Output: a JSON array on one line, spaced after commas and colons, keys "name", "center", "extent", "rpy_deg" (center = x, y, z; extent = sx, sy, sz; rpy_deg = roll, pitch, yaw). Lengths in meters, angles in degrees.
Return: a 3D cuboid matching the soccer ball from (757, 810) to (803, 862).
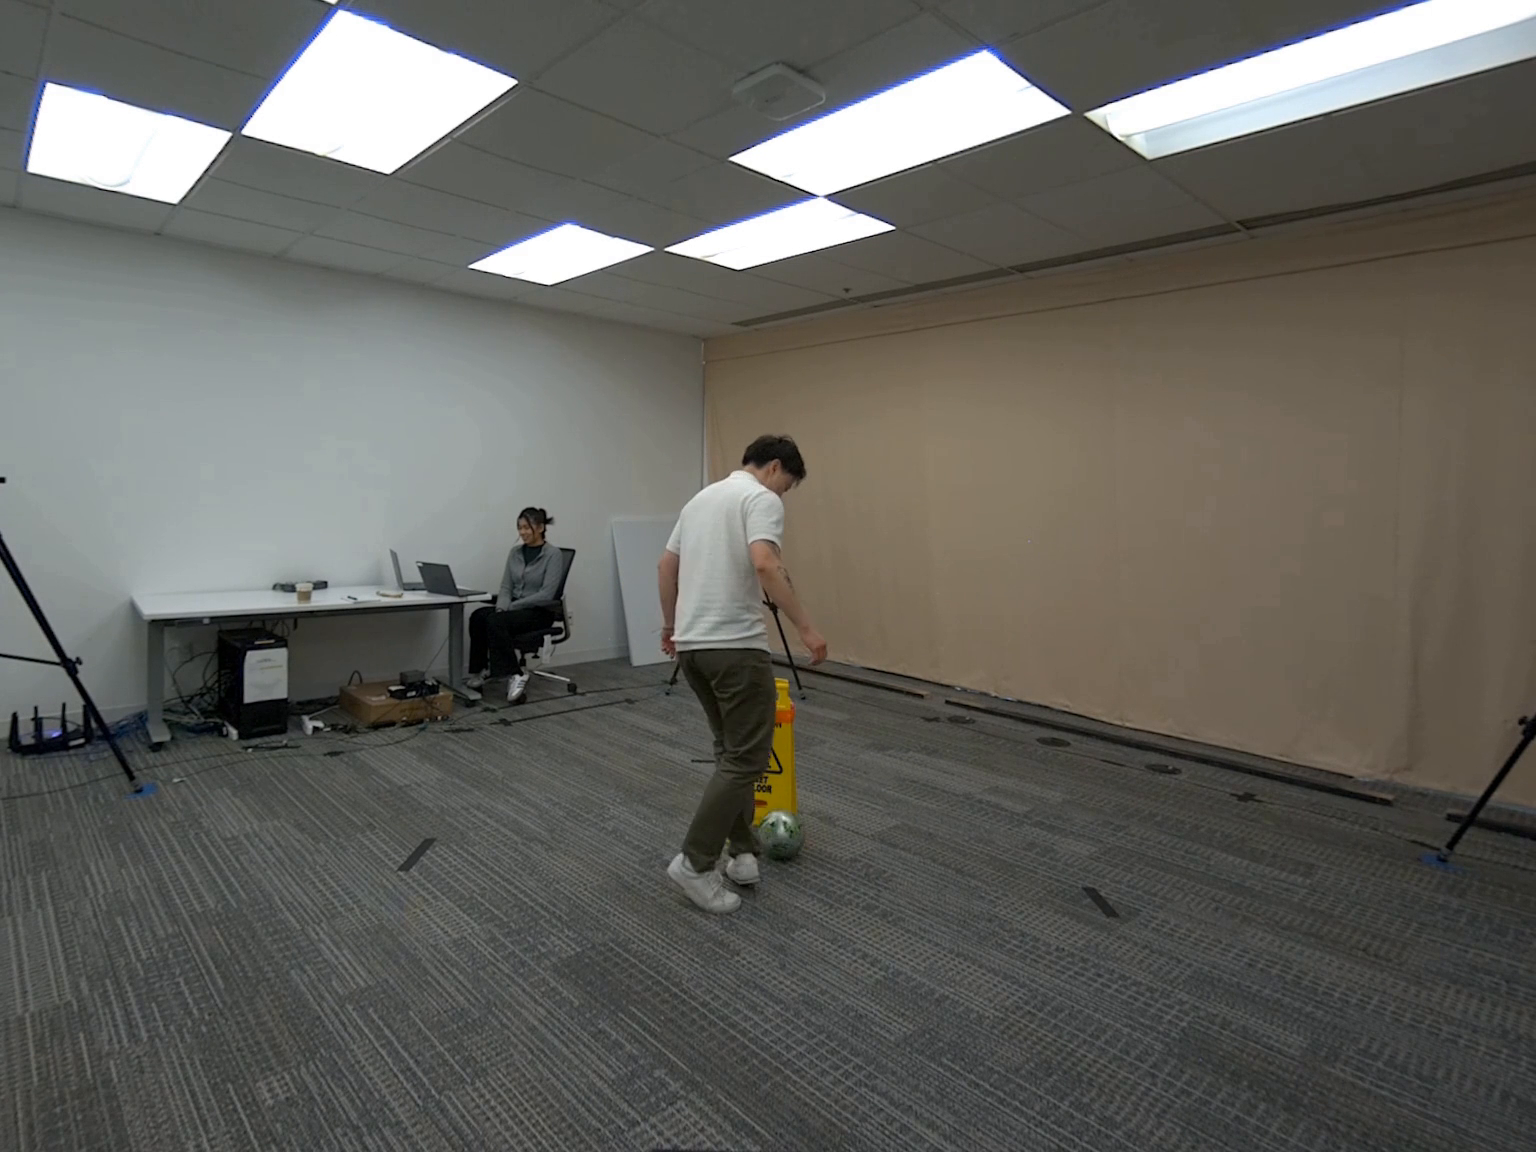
[{"name": "soccer ball", "center": [0.039, 1.001, 3.261], "extent": [0.187, 0.187, 0.188], "rpy_deg": [1, 4, -1]}]
